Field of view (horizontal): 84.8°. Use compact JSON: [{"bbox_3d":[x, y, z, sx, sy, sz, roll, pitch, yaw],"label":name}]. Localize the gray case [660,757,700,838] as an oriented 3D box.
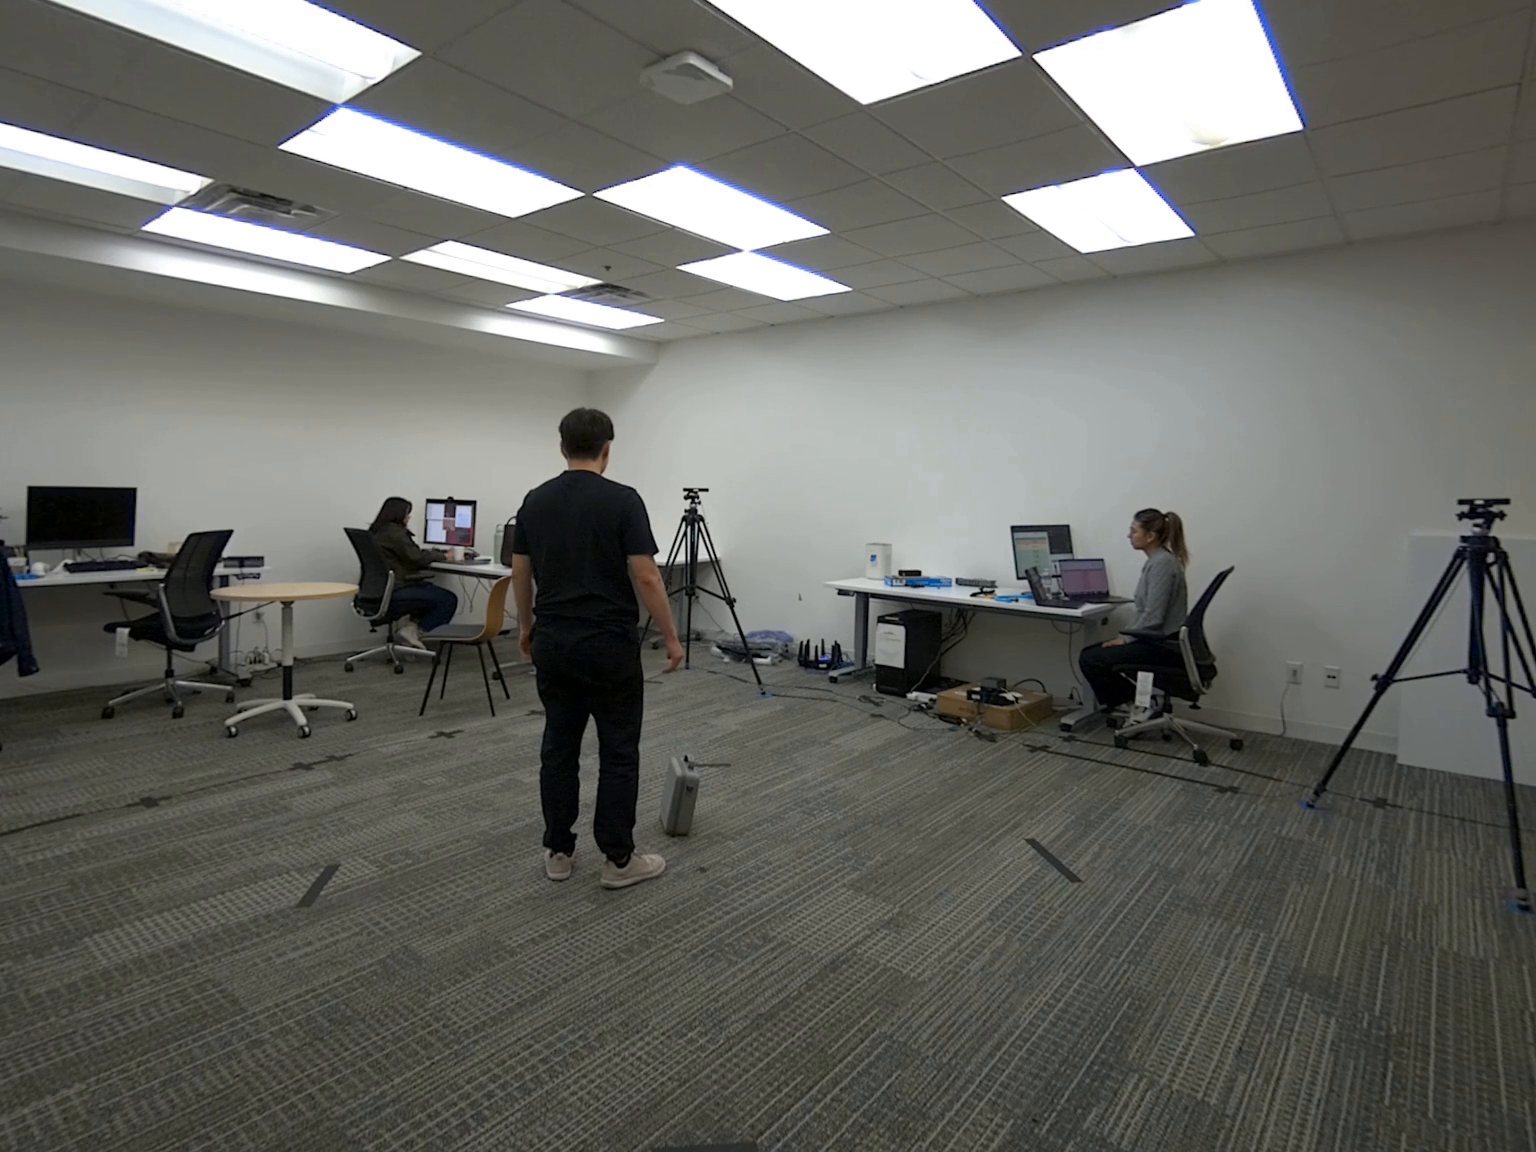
[{"bbox_3d":[-0.373,0.894,3.513,0.103,0.260,0.261,8,3,-13],"label":"gray case"}]
